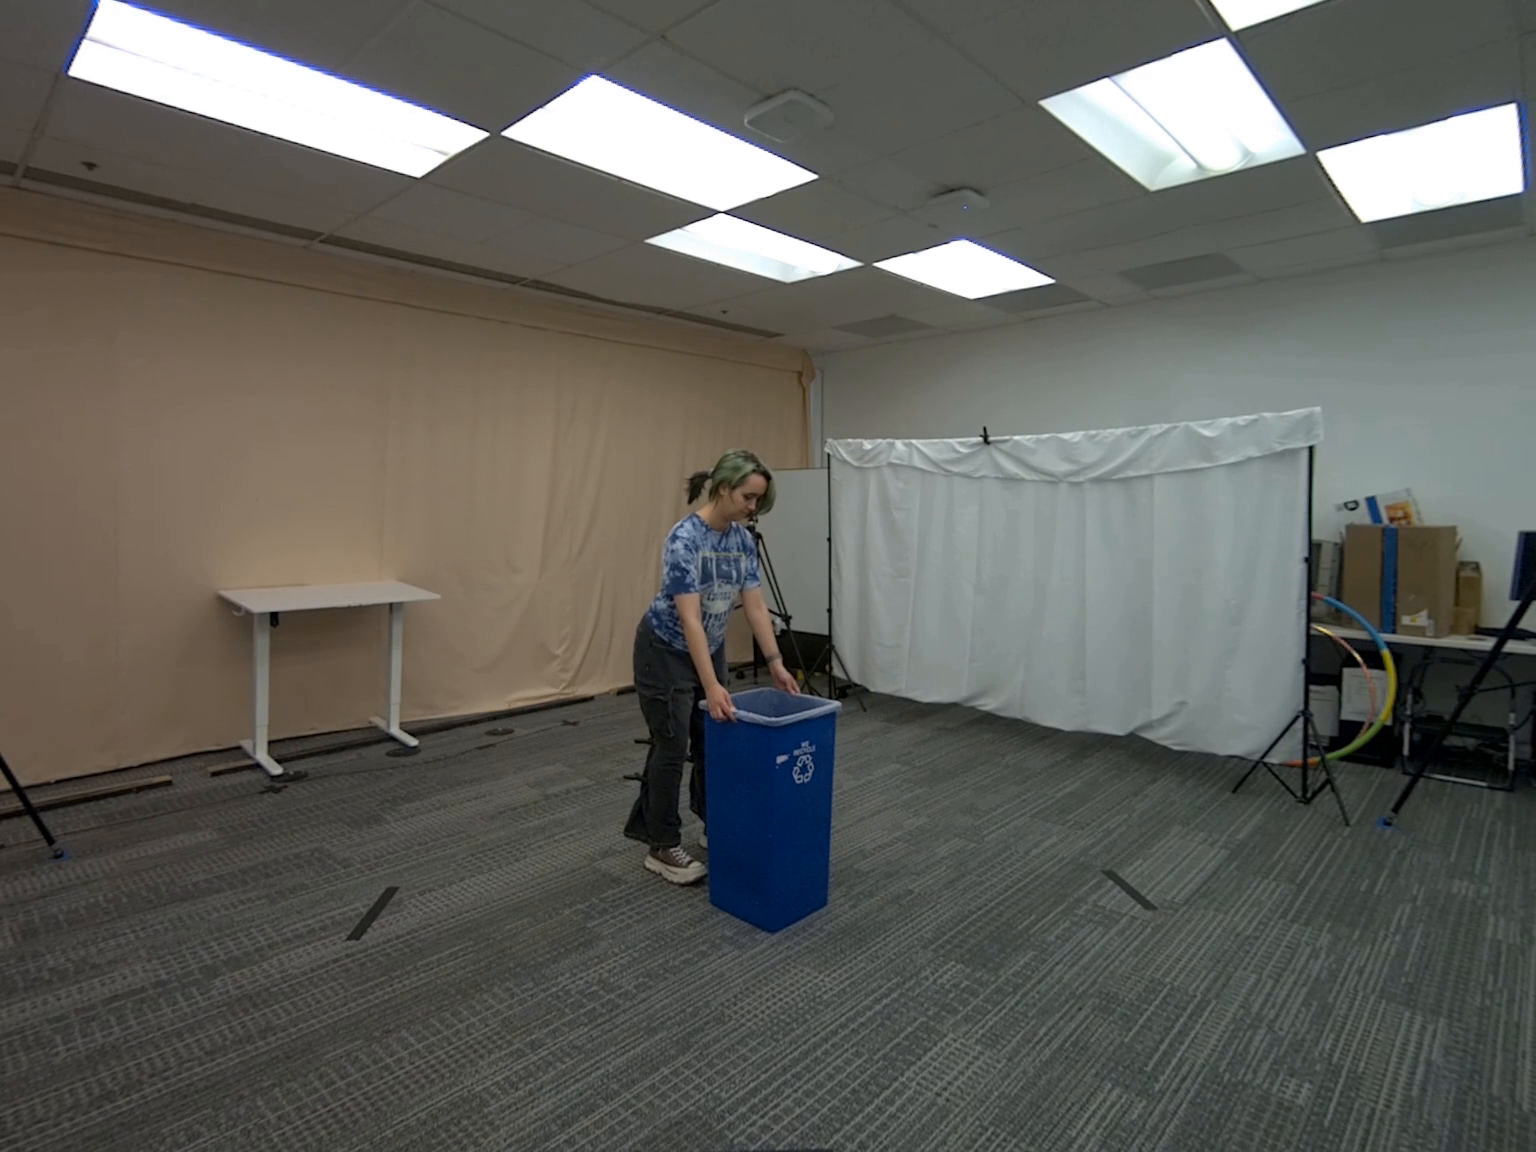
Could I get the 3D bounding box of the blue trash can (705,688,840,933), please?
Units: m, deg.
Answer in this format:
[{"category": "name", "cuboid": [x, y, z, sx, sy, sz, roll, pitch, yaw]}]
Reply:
[{"category": "blue trash can", "cuboid": [0.012, 0.793, 2.930, 0.391, 0.712, 0.362, 4, 5, 44]}]
